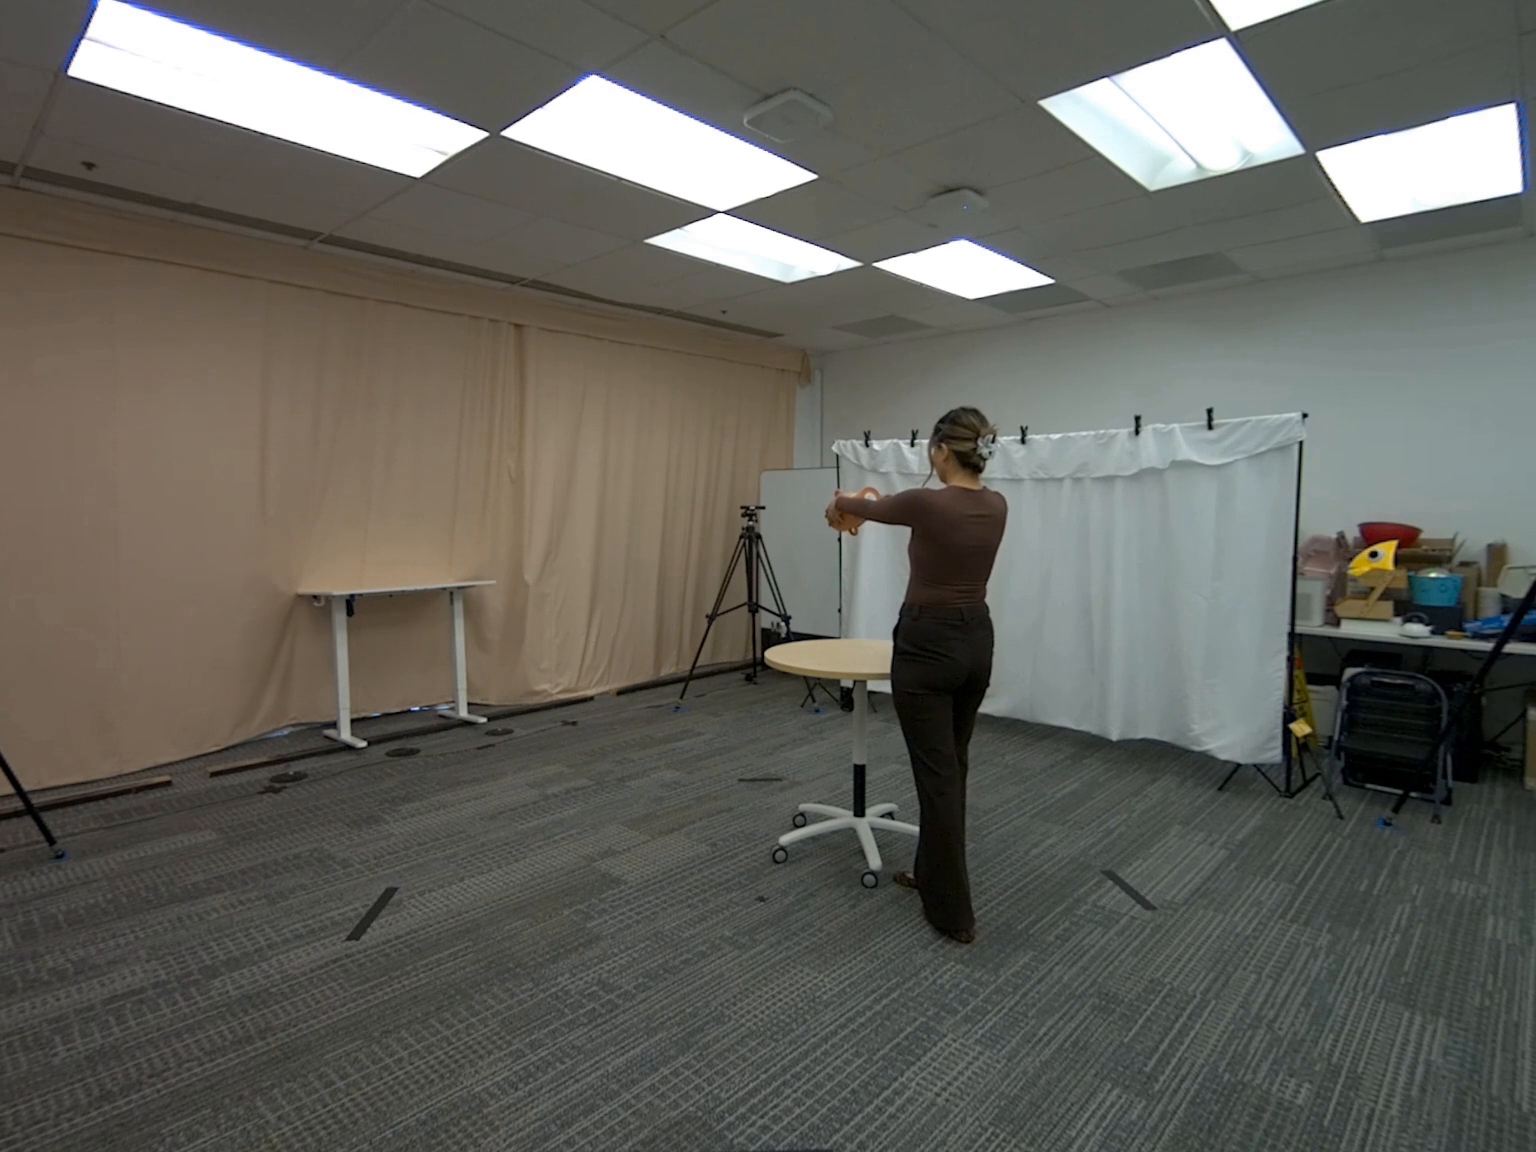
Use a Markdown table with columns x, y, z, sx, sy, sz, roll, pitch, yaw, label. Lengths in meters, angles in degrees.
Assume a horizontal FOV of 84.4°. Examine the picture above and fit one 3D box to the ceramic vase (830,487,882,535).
| x | y | z | sx | sy | sz | roll | pitch | yaw | label |
| --- | --- | --- | --- | --- | --- | --- | --- | --- | --- |
| 0.346 | -0.267 | 3.323 | 0.156 | 0.135 | 0.223 | 34 | -27 | -15 | ceramic vase |
